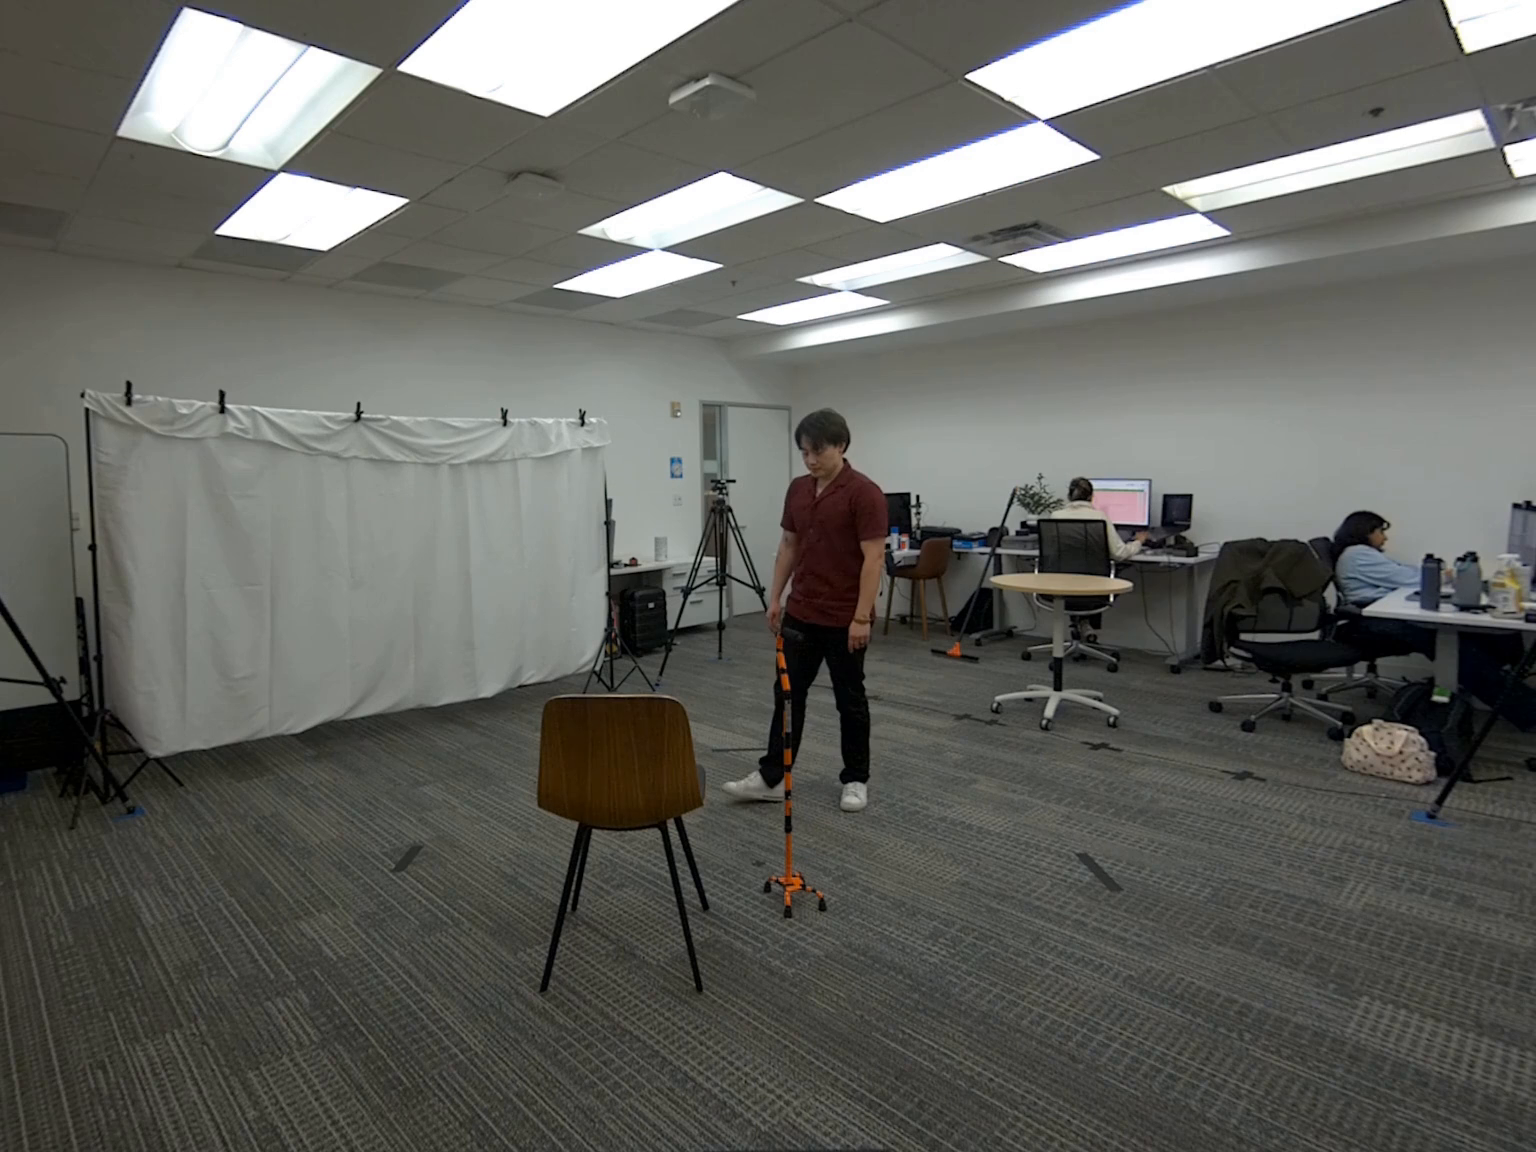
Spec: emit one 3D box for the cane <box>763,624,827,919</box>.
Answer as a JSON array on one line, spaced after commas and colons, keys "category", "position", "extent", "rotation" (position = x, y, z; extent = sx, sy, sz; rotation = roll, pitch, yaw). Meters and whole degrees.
[{"category": "cane", "position": [0.080, 0.624, 2.806], "extent": [0.149, 0.905, 0.211], "rotation": [-2, 3, -21]}]
